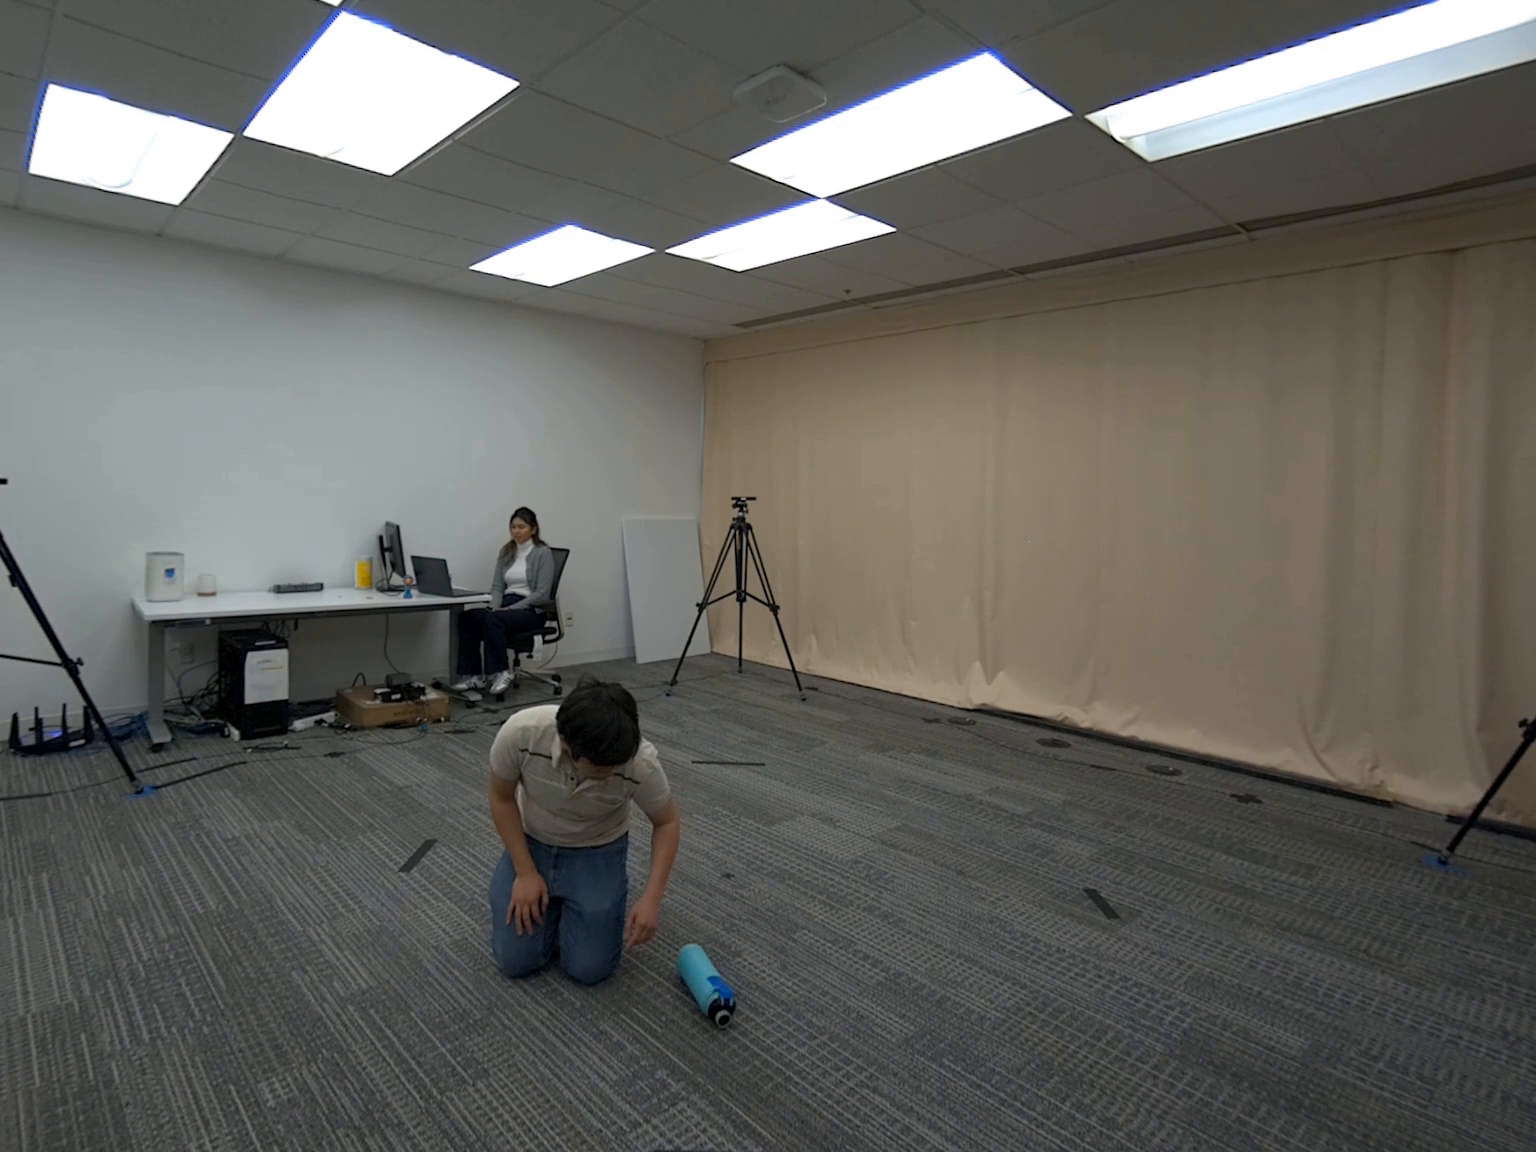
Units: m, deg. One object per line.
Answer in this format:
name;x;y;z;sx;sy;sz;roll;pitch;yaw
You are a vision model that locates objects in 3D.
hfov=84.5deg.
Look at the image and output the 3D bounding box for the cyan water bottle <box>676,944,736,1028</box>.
cyan water bottle;-0.177;1.135;2.322;0.091;0.092;0.289;0;8;-21
